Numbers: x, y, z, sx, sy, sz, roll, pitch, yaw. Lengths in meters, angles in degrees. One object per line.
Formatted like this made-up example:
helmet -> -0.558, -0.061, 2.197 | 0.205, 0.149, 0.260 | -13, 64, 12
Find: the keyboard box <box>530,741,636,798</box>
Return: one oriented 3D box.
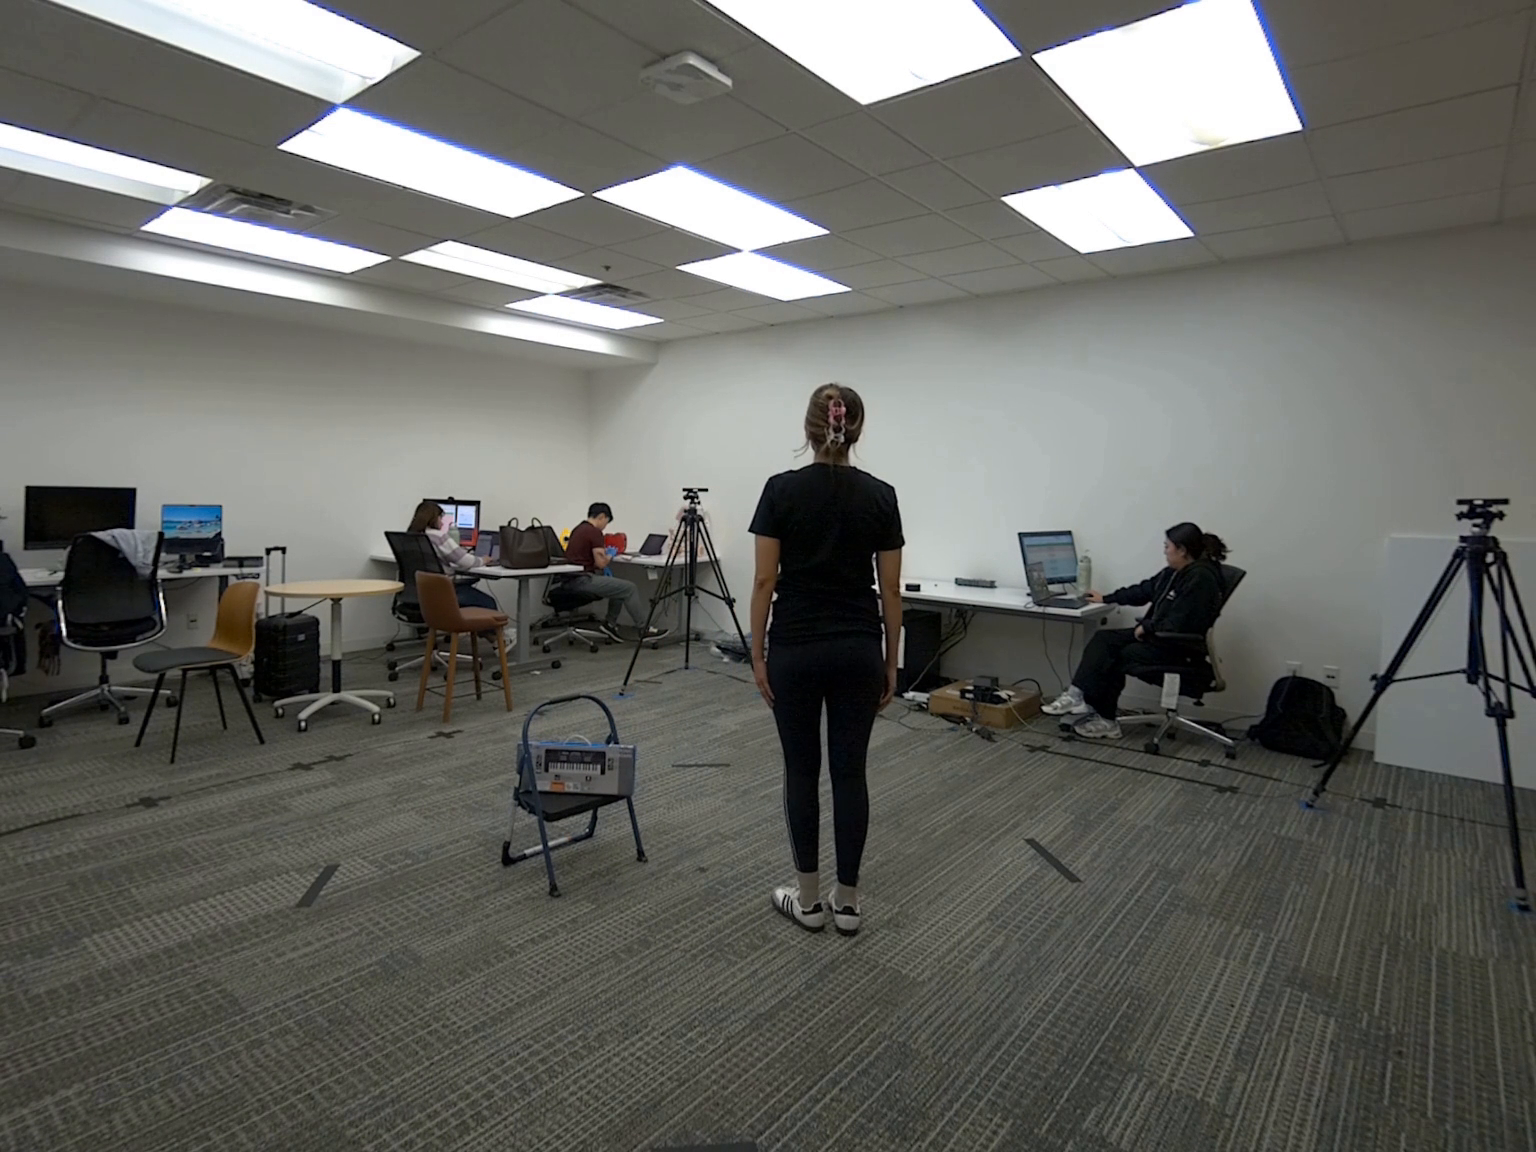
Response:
keyboard box -> -0.729, 0.711, 3.144 | 0.438, 0.176, 0.059 | 2, -3, 3
